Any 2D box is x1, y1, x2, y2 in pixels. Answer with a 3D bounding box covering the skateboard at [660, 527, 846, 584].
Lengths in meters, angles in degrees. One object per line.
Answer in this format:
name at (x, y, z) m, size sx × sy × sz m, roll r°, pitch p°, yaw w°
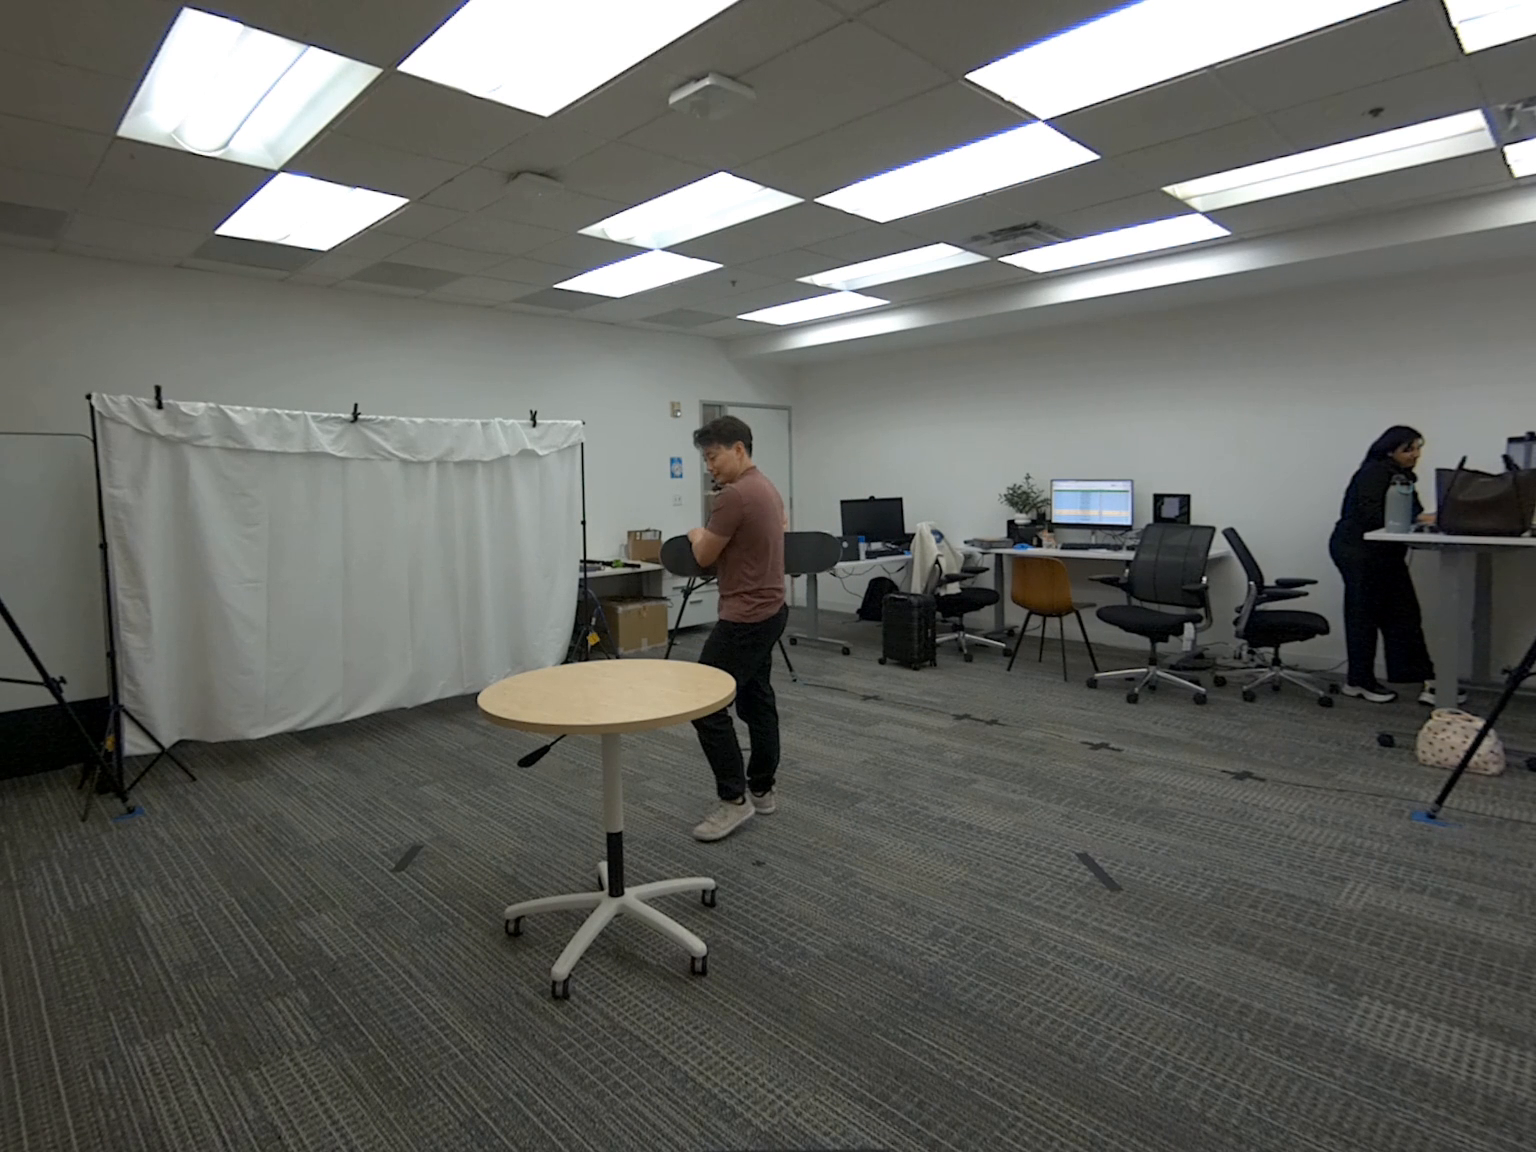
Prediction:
skateboard at (-0.074, -0.092, 3.730) m, size 0.782 × 0.197 × 0.109 m, roll -2°, pitch -18°, yaw -4°
